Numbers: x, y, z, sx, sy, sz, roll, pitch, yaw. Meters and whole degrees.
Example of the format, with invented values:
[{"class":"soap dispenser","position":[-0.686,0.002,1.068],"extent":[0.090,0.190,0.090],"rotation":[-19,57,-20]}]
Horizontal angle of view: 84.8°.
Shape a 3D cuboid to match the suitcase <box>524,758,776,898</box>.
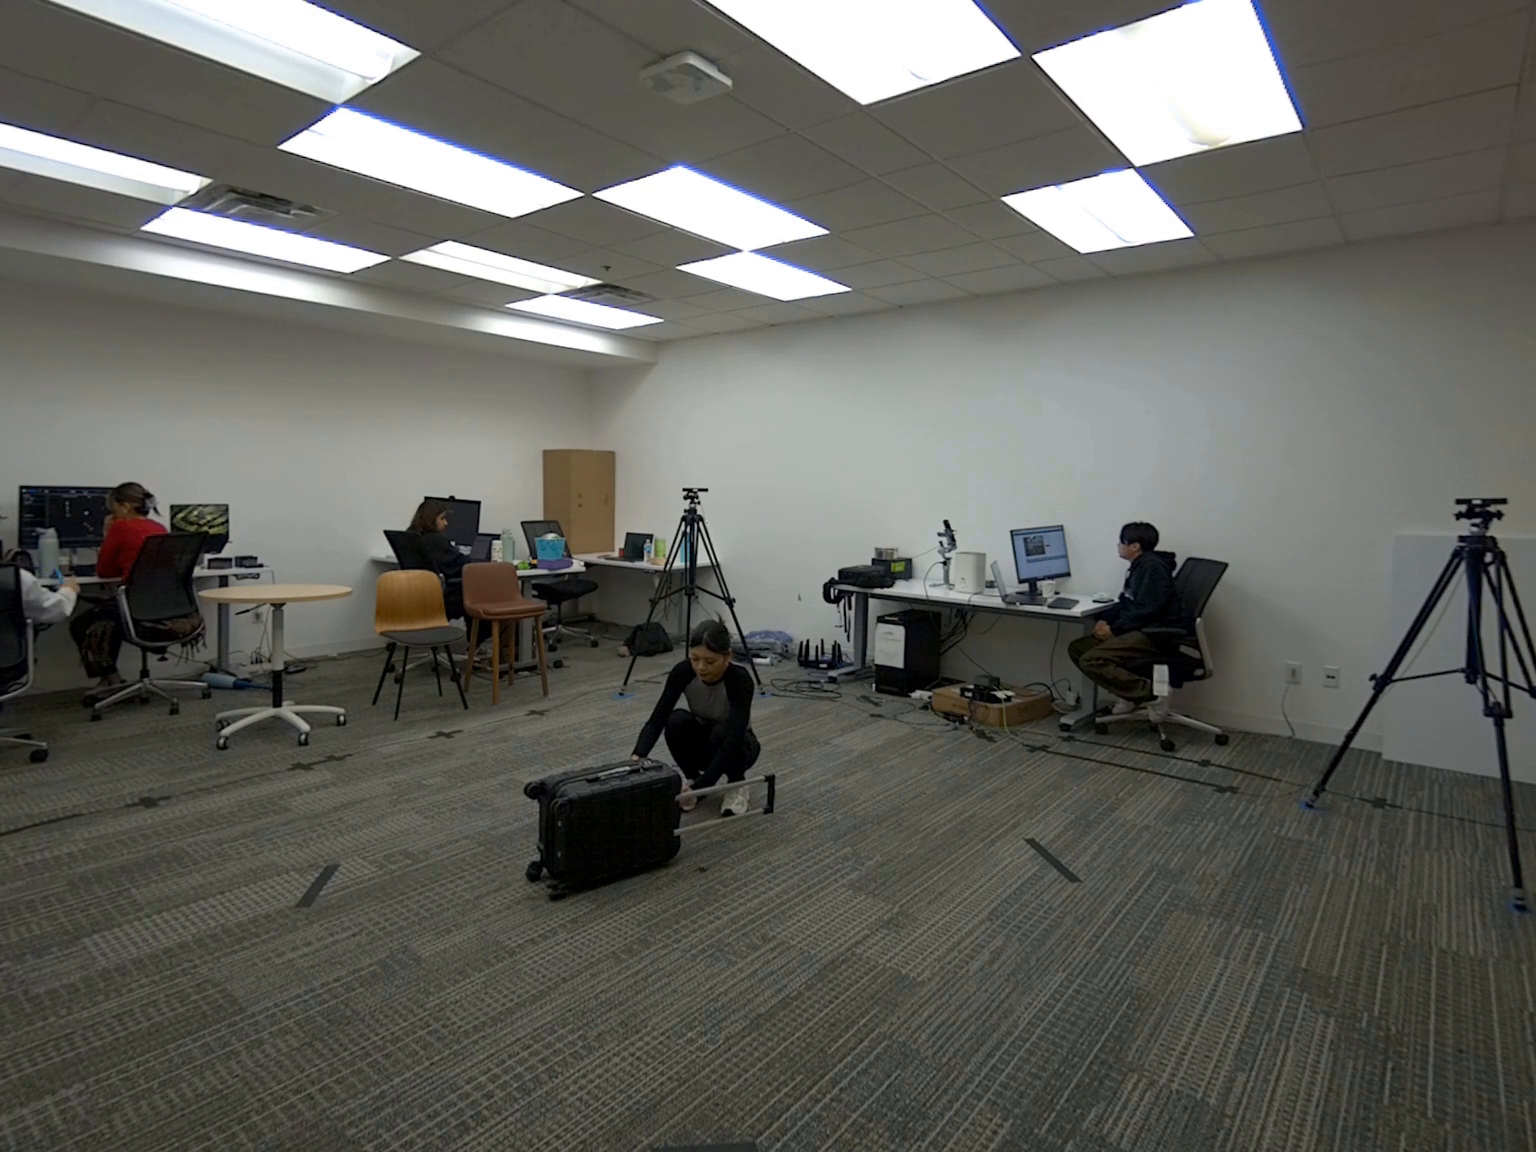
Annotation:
[{"class":"suitcase","position":[-0.433,0.873,3.198],"extent":[0.950,0.382,0.266],"rotation":[-3,6,-38]}]
